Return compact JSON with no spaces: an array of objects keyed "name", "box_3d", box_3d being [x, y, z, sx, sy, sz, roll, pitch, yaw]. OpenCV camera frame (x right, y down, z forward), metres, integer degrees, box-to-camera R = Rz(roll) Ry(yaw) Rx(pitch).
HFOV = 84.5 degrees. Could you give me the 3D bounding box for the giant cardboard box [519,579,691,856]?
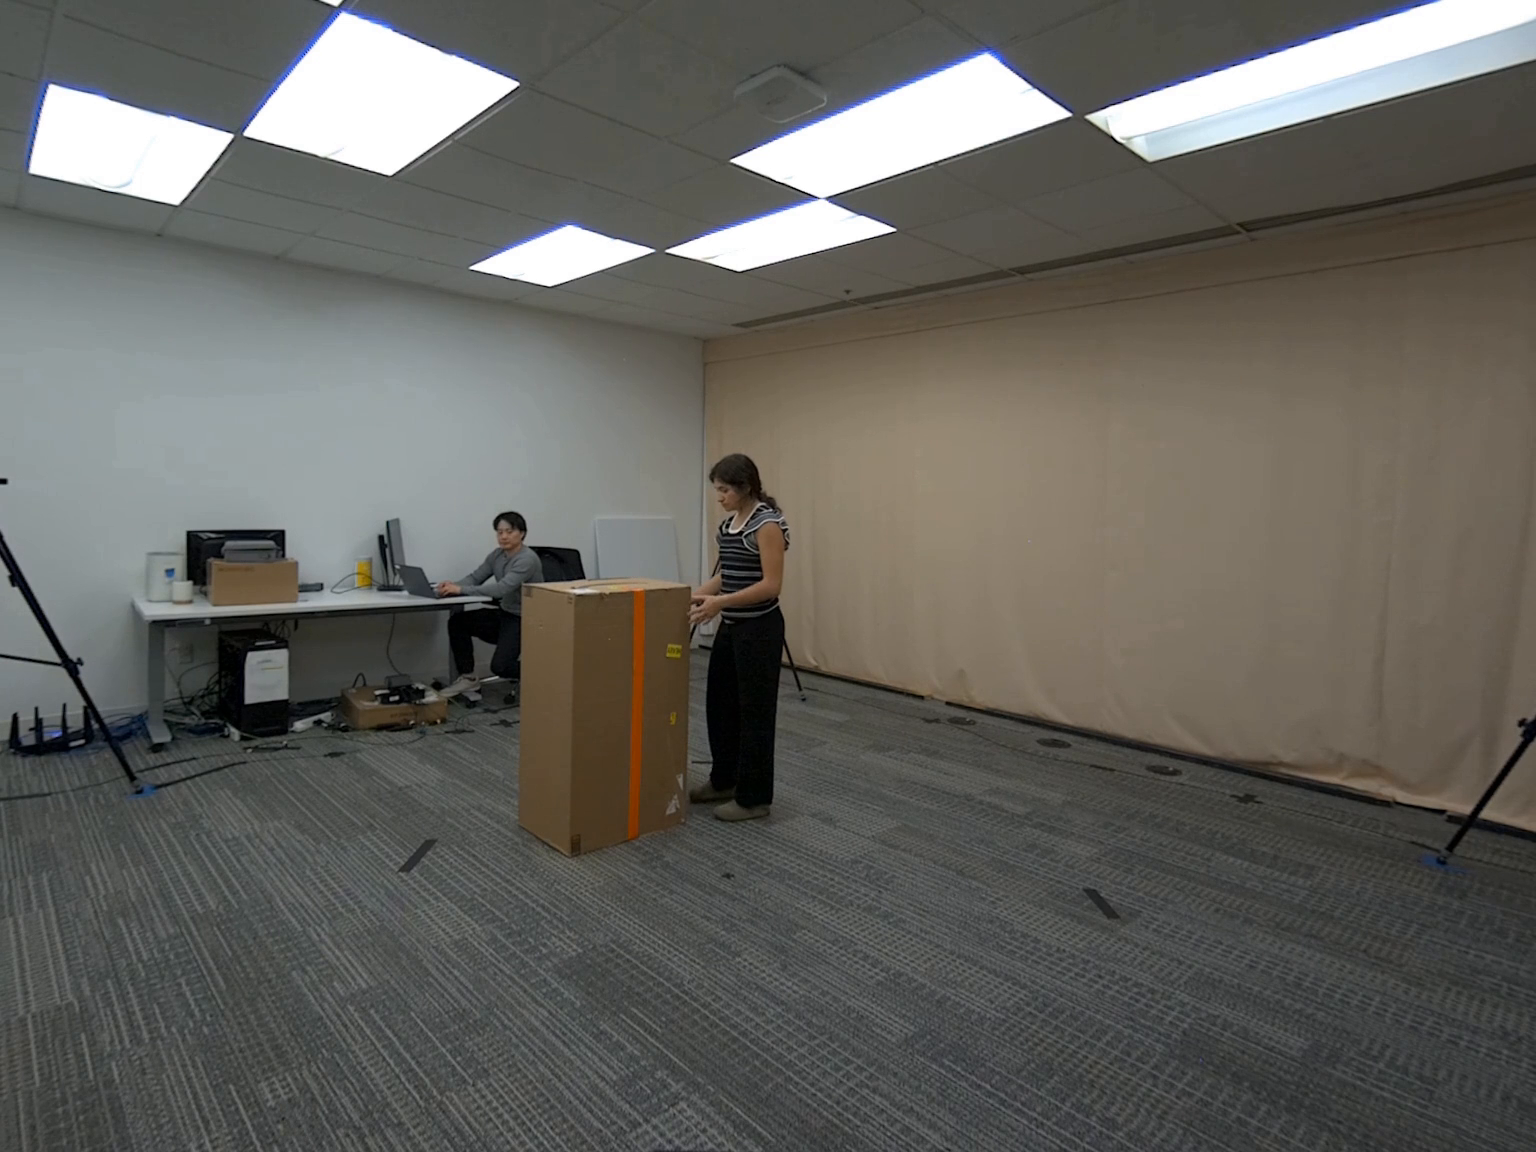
[{"name":"giant cardboard box","box_3d":[-0.697,0.552,3.539,0.564,1.023,0.437,-2,5,-42]}]
